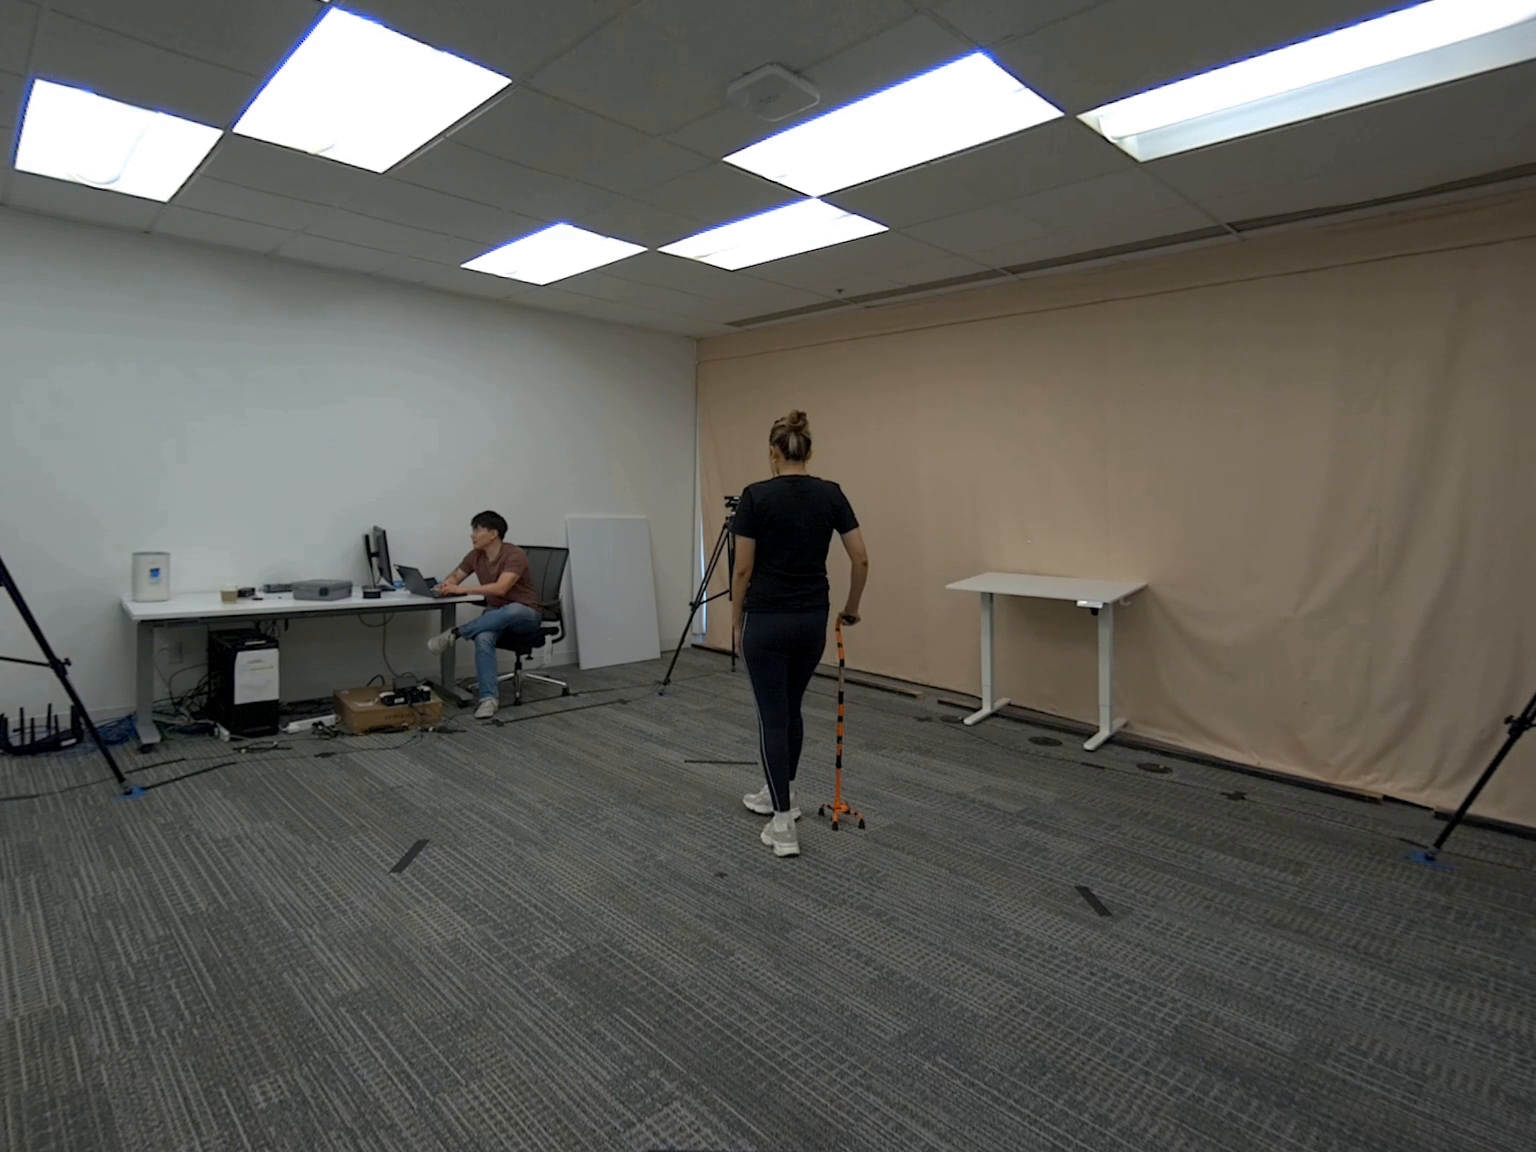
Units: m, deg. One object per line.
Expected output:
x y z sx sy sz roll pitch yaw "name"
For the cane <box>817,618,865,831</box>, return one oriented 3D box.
0.326 0.613 3.646 0.150 0.907 0.209 2 2 -15 "cane"
